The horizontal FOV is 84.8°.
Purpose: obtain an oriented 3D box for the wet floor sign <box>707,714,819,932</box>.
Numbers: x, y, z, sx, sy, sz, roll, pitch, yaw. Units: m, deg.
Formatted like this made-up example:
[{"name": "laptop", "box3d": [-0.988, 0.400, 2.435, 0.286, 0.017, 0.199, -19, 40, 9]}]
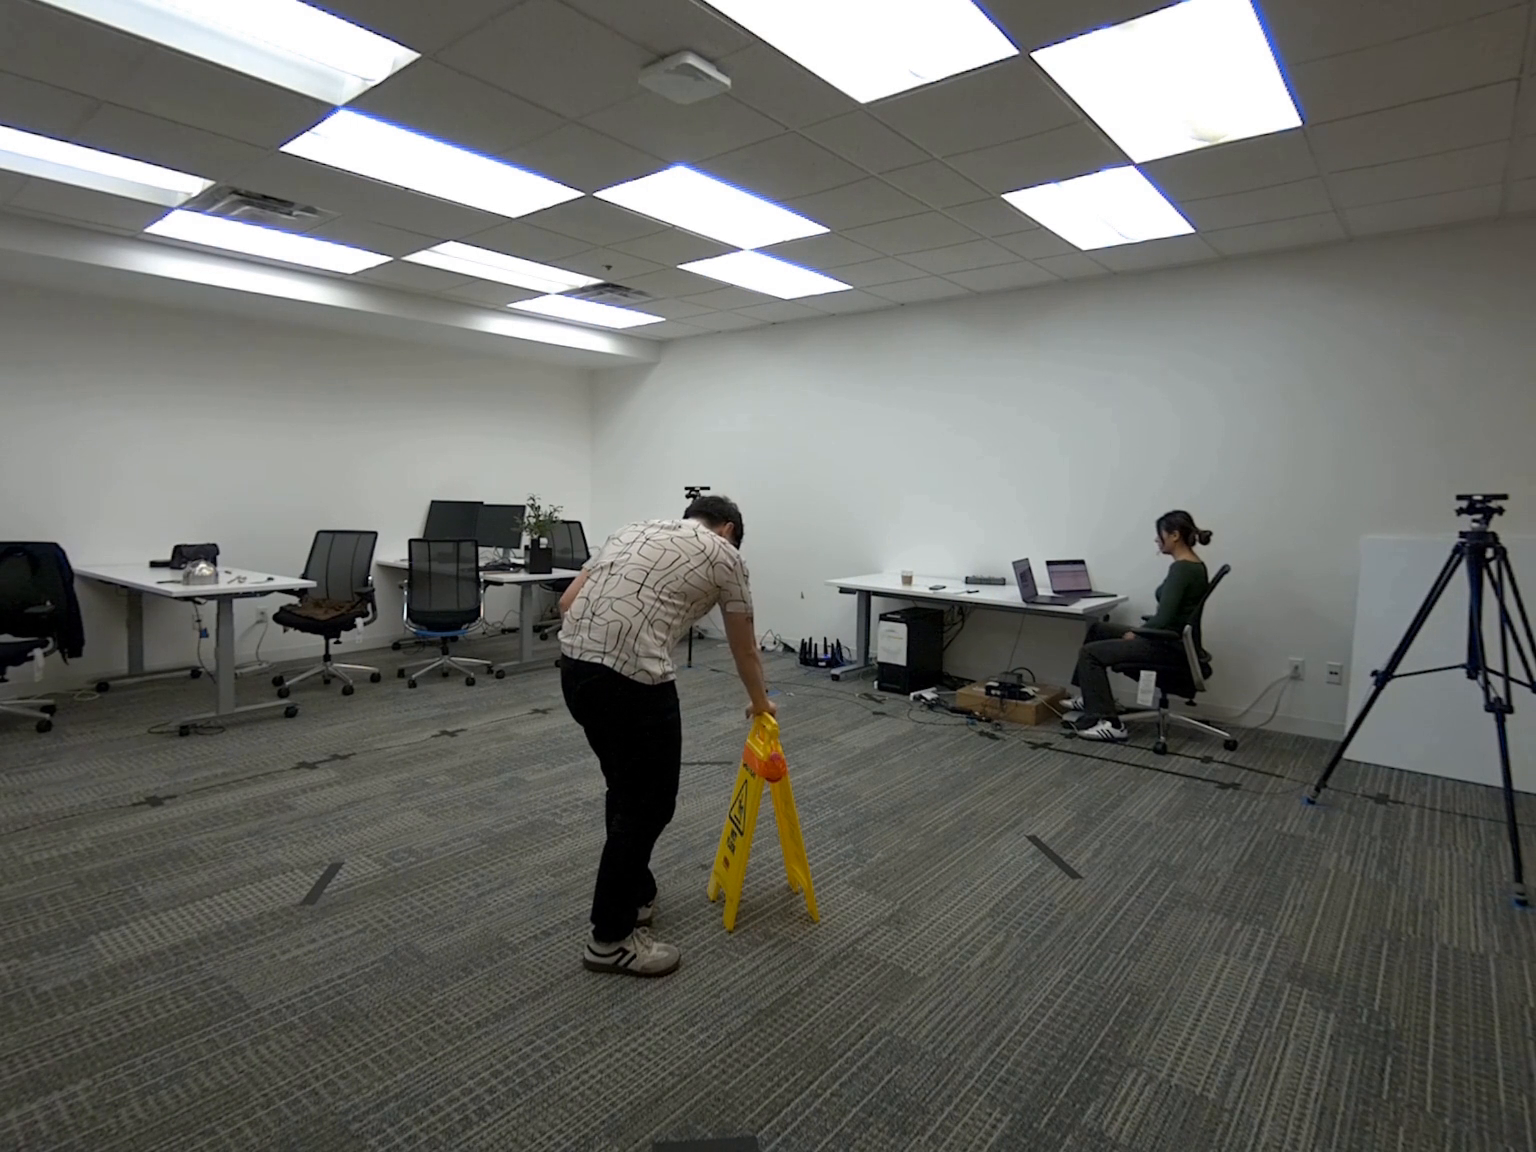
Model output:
[{"name": "wet floor sign", "box3d": [-0.022, 0.772, 2.812, 0.285, 0.644, 0.288, 0, 4, -16]}]
